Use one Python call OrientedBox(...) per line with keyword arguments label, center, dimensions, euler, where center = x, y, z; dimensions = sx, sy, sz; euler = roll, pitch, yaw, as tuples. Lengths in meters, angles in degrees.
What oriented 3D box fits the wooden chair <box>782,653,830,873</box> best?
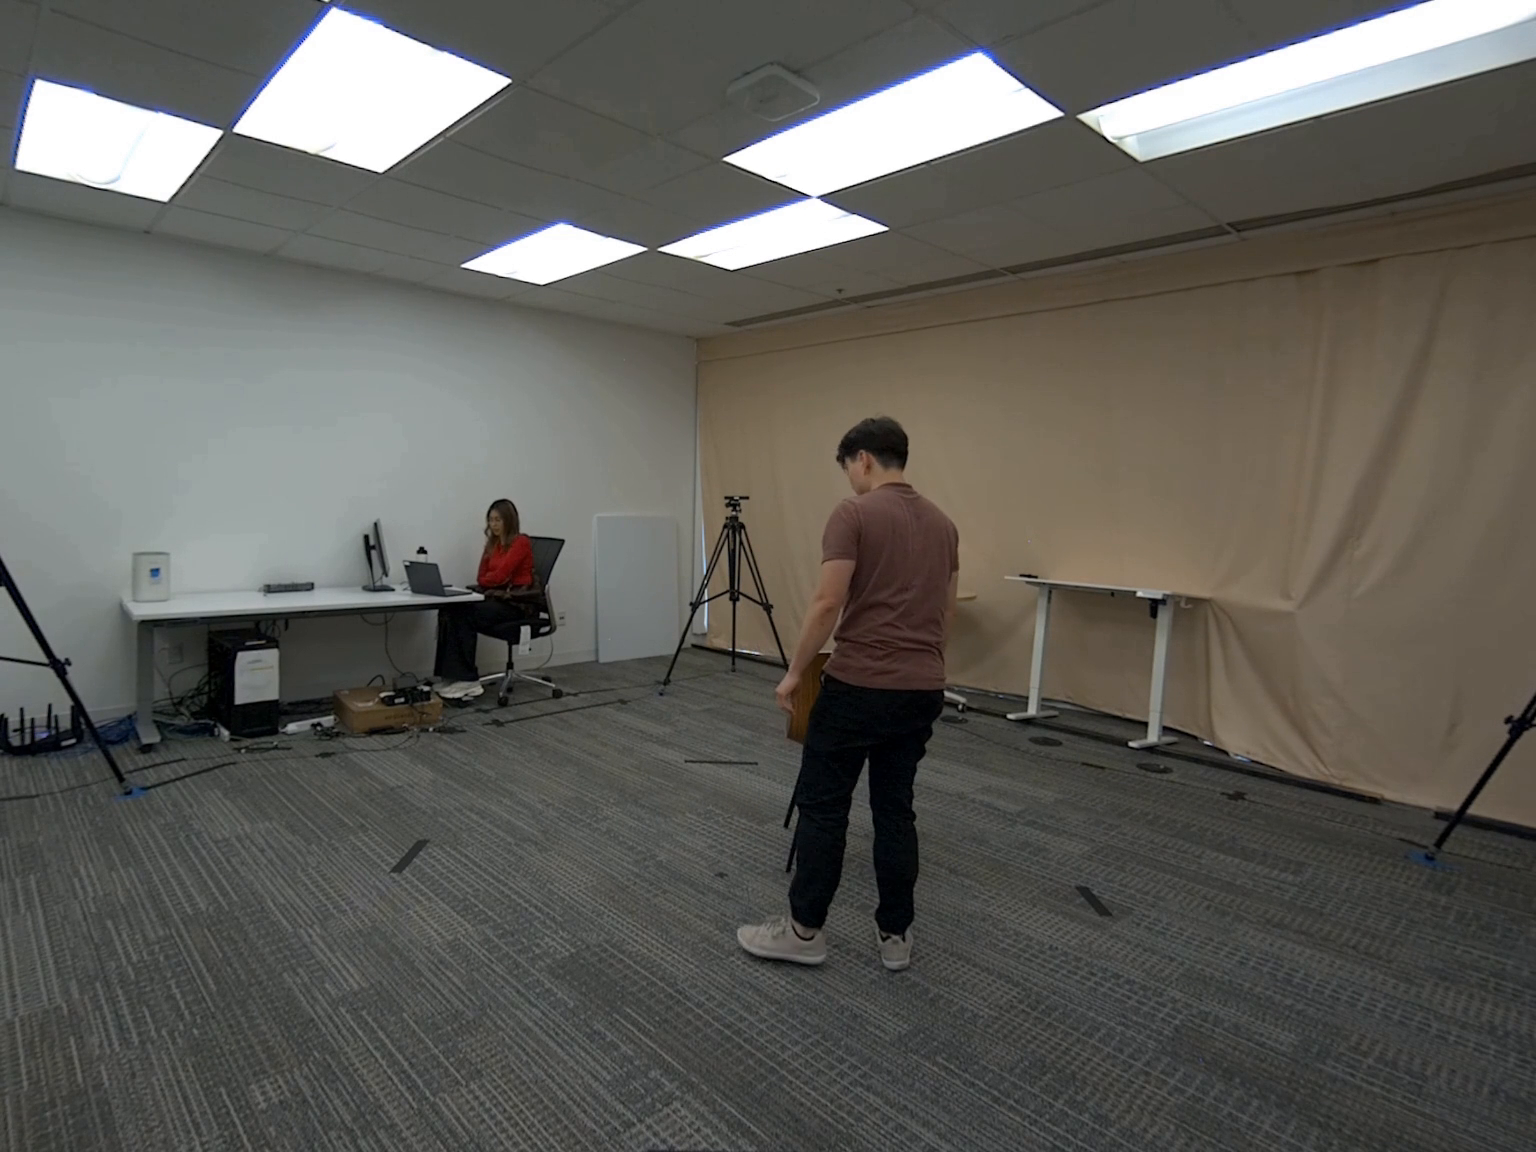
OrientedBox(label="wooden chair", center=(0.295, 0.670, 3.325), dimensions=(0.479, 0.872, 0.525), euler=(1, 7, 2))
